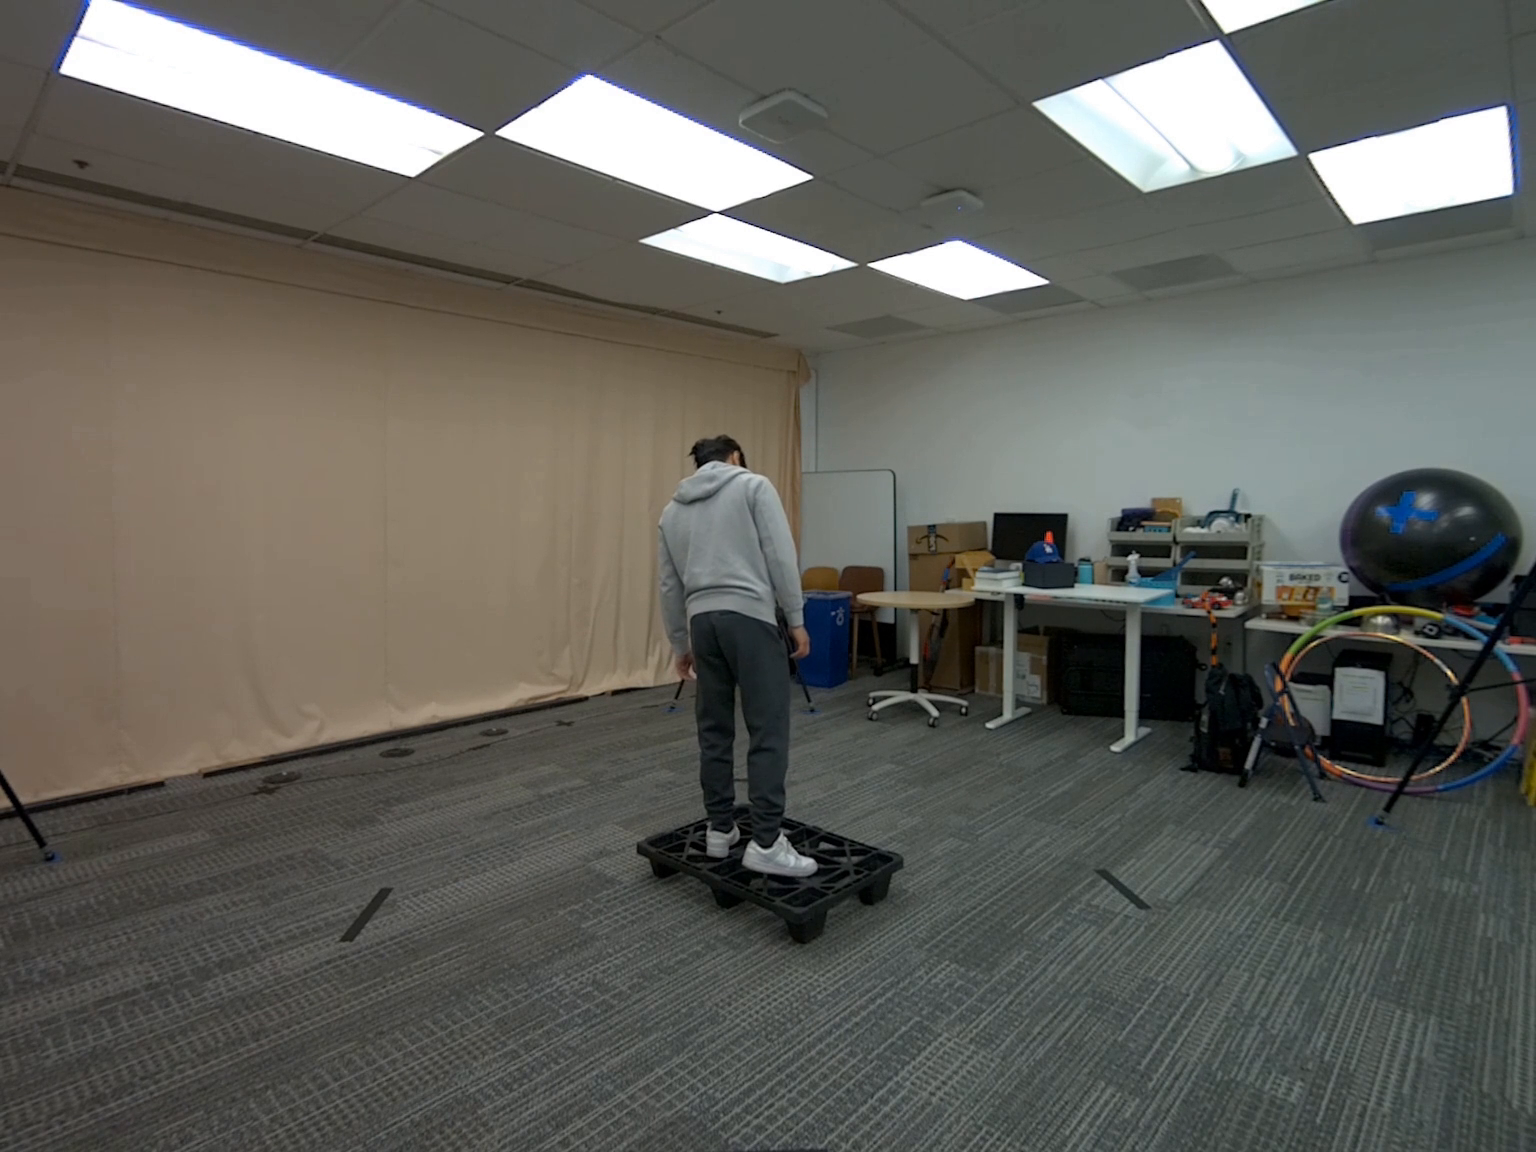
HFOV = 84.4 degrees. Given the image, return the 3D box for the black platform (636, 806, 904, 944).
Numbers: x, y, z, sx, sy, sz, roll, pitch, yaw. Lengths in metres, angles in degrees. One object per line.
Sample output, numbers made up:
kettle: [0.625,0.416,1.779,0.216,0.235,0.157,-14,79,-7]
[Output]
black platform: [-0.002,1.067,3.079,0.832,0.143,0.587,4,7,44]
